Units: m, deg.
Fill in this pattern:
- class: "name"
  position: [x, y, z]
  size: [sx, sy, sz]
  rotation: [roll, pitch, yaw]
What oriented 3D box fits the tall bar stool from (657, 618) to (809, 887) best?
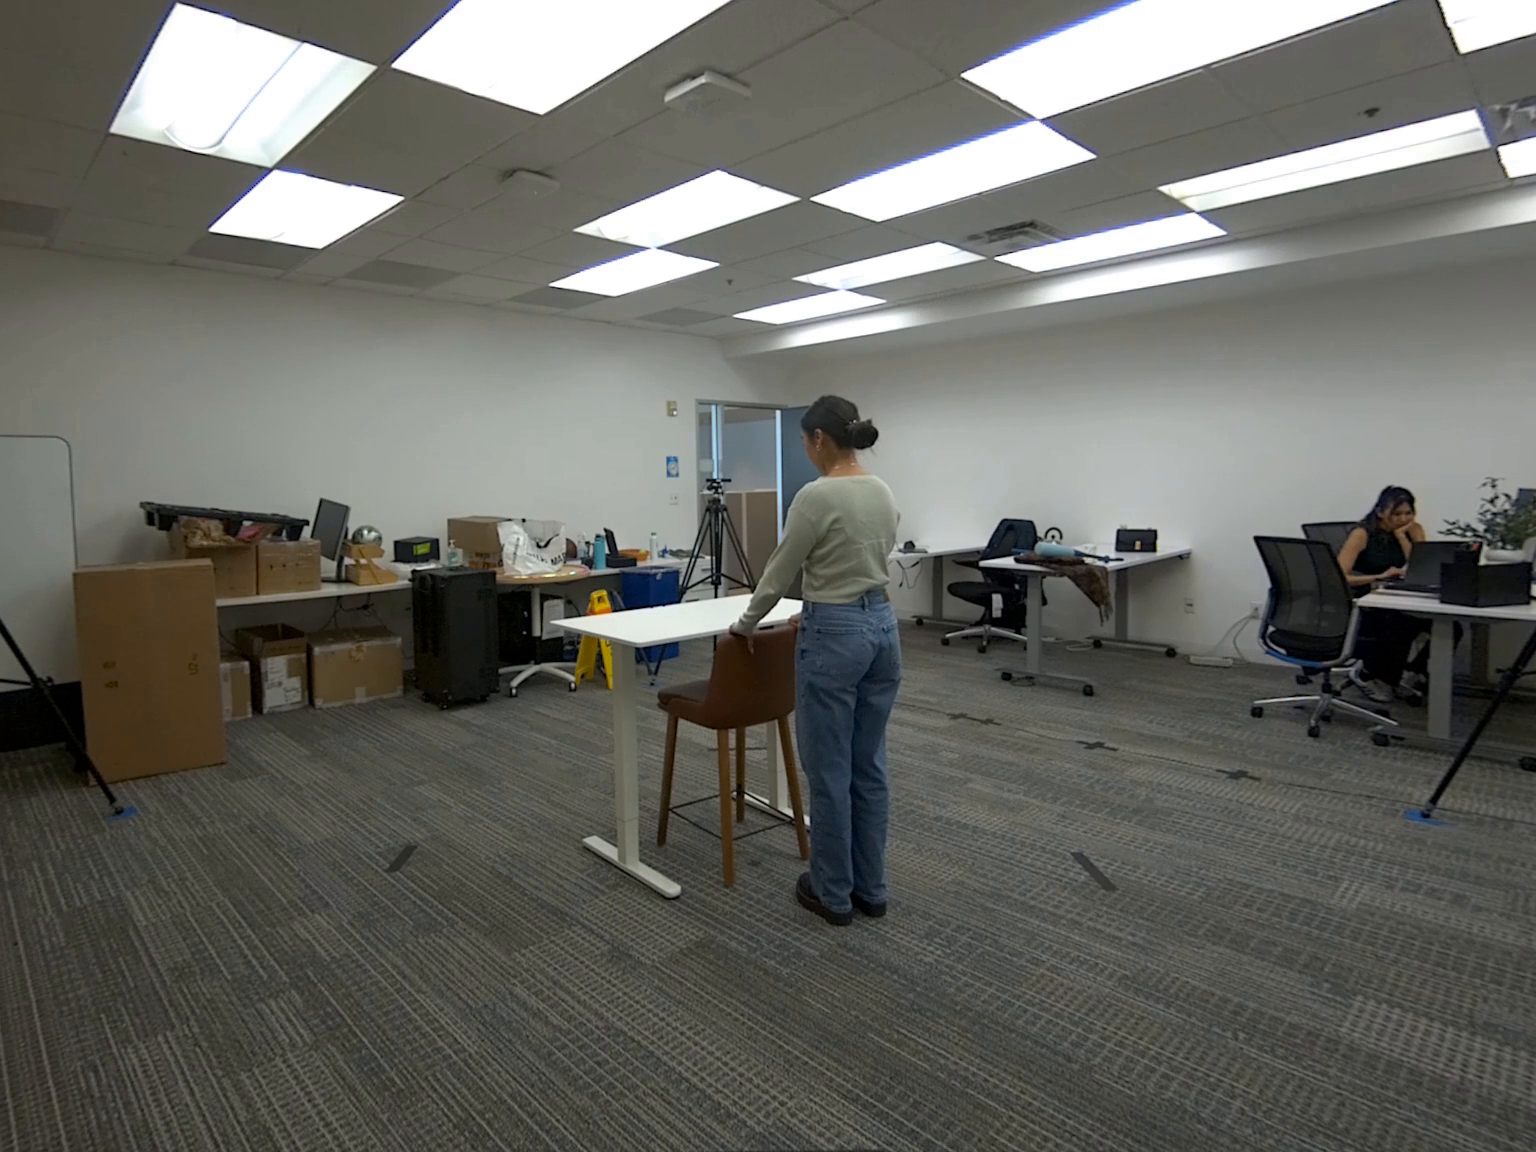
- class: "tall bar stool"
  position: [-0.127, 0.604, 3.175]
  size: [0.444, 0.885, 0.482]
  rotation: [-3, 7, -36]
